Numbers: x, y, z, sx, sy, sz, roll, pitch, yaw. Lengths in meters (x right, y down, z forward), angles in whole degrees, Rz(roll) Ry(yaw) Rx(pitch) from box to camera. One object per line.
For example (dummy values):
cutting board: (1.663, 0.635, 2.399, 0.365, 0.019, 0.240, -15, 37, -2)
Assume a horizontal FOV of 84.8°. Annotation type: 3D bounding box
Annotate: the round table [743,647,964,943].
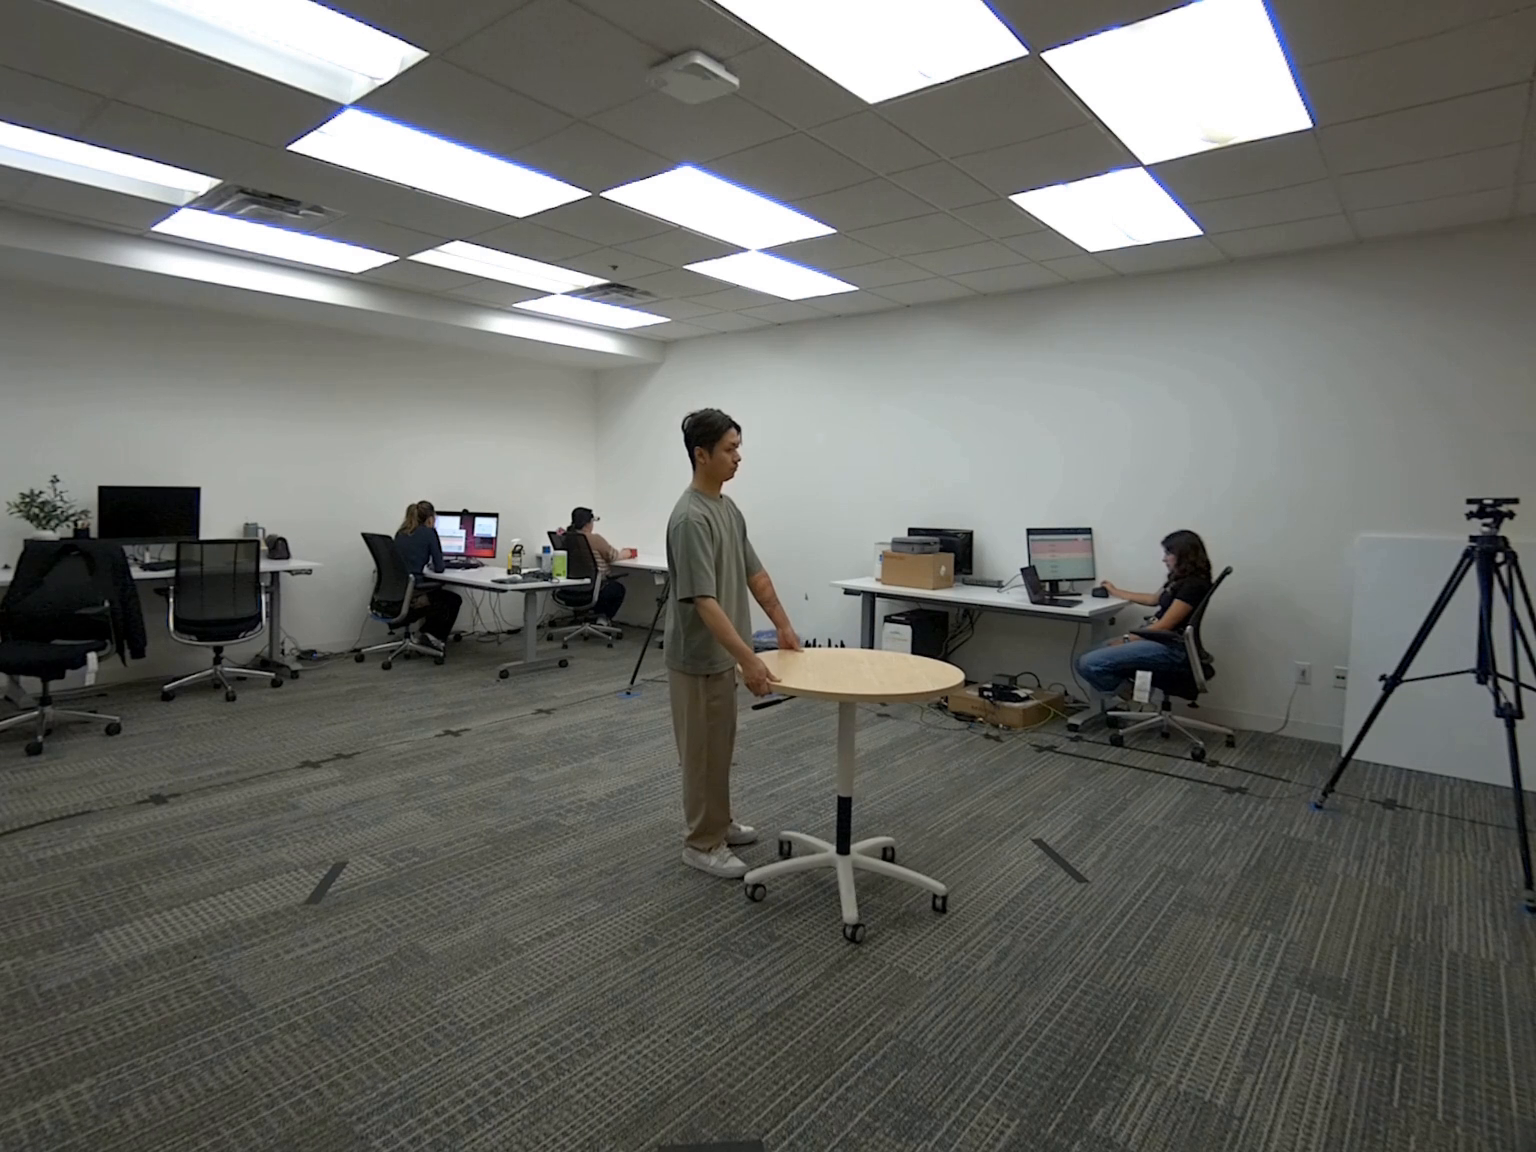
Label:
round table: (0.273, 0.701, 2.922, 0.784, 0.784, 0.789, 1, 5, -2)
